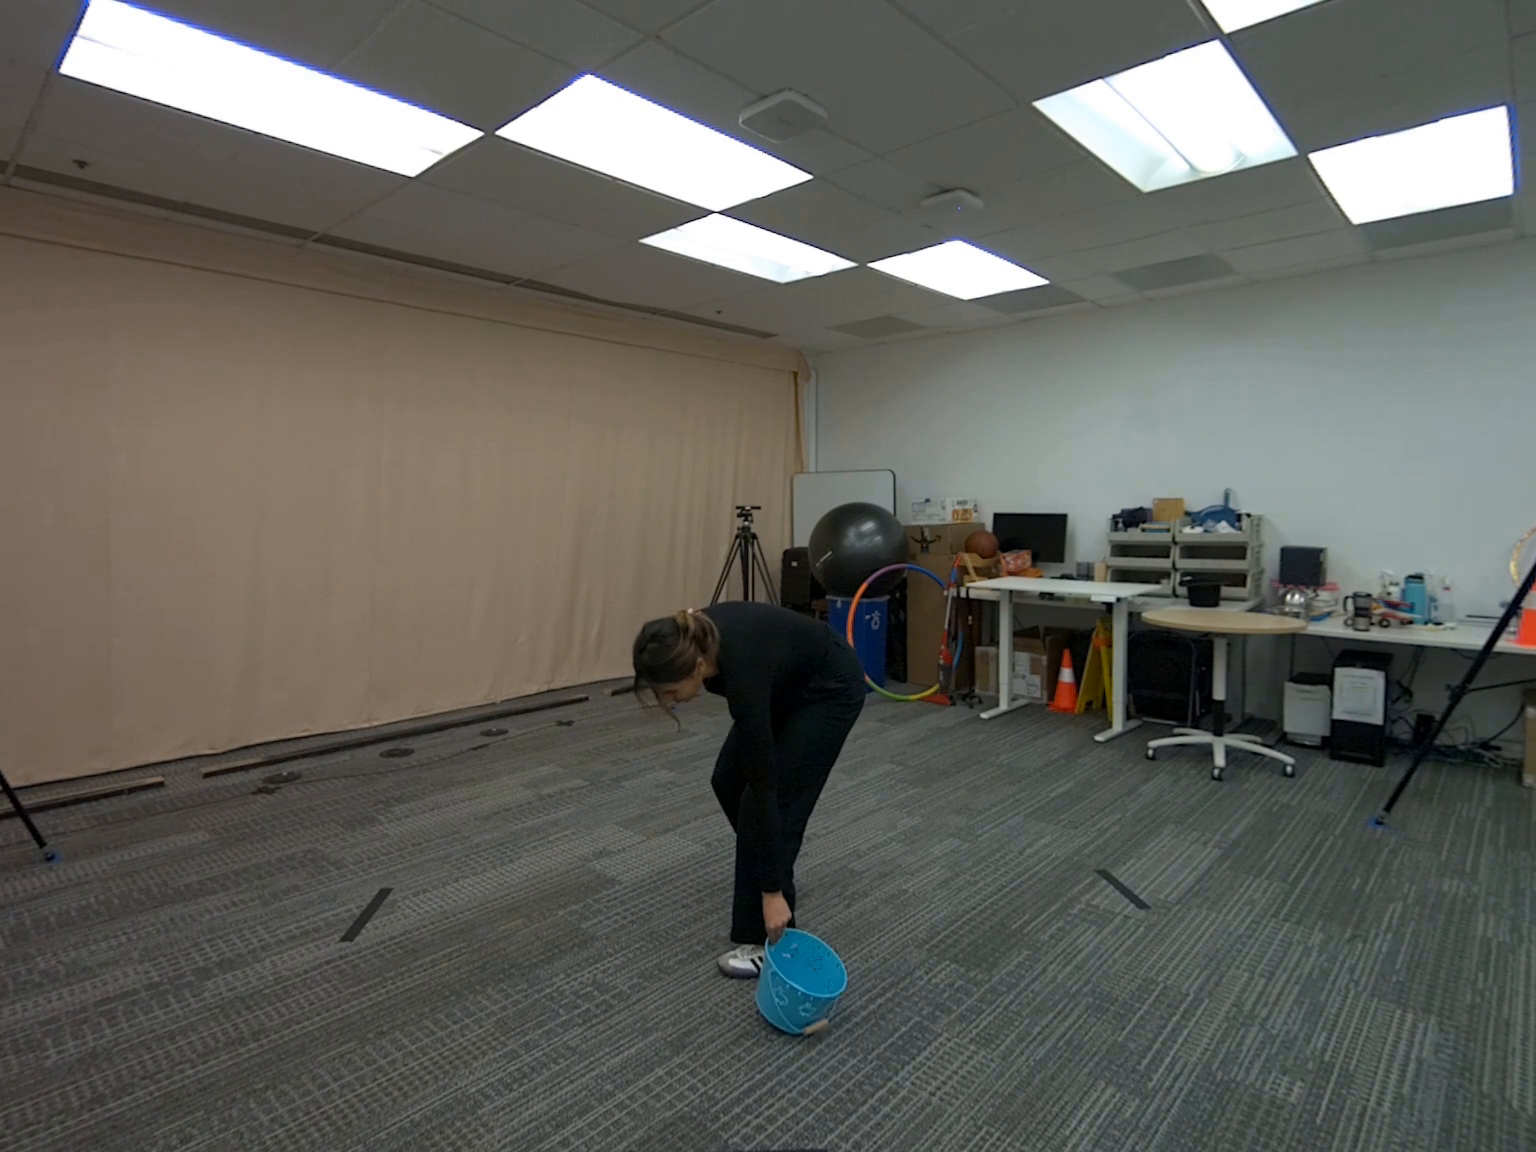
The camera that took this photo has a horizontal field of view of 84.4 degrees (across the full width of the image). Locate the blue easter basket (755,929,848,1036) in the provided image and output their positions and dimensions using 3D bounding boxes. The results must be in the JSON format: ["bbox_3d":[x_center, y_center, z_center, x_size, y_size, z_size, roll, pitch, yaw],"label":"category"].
[{"bbox_3d":[0.075,1.098,2.269,0.242,0.155,0.246,15,13,-5],"label":"blue easter basket"}]
